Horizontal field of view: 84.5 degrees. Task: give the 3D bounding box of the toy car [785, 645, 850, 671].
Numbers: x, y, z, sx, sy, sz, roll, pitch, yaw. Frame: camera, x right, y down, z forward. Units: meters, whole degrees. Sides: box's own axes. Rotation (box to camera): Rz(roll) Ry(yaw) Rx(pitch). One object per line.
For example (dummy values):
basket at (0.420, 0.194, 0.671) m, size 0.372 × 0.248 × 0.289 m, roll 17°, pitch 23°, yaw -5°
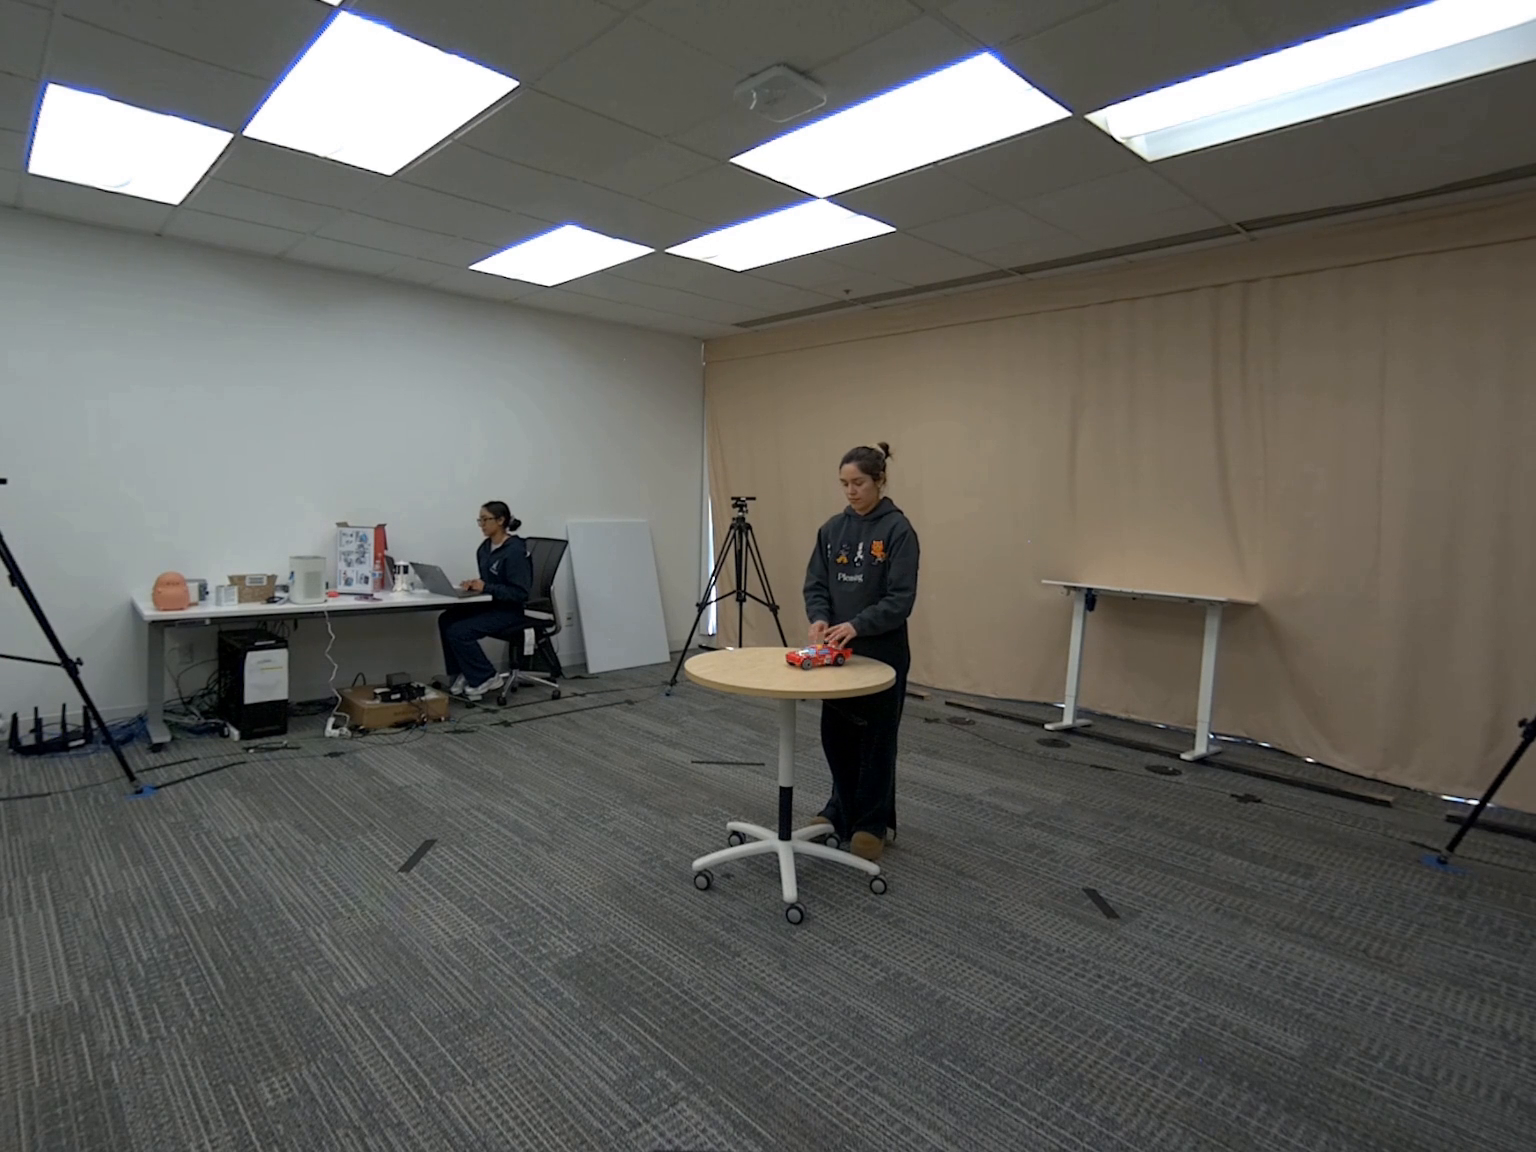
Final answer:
toy car at (0.186, 0.299, 3.118) m, size 0.251 × 0.082 × 0.133 m, roll -14°, pitch 13°, yaw -29°
